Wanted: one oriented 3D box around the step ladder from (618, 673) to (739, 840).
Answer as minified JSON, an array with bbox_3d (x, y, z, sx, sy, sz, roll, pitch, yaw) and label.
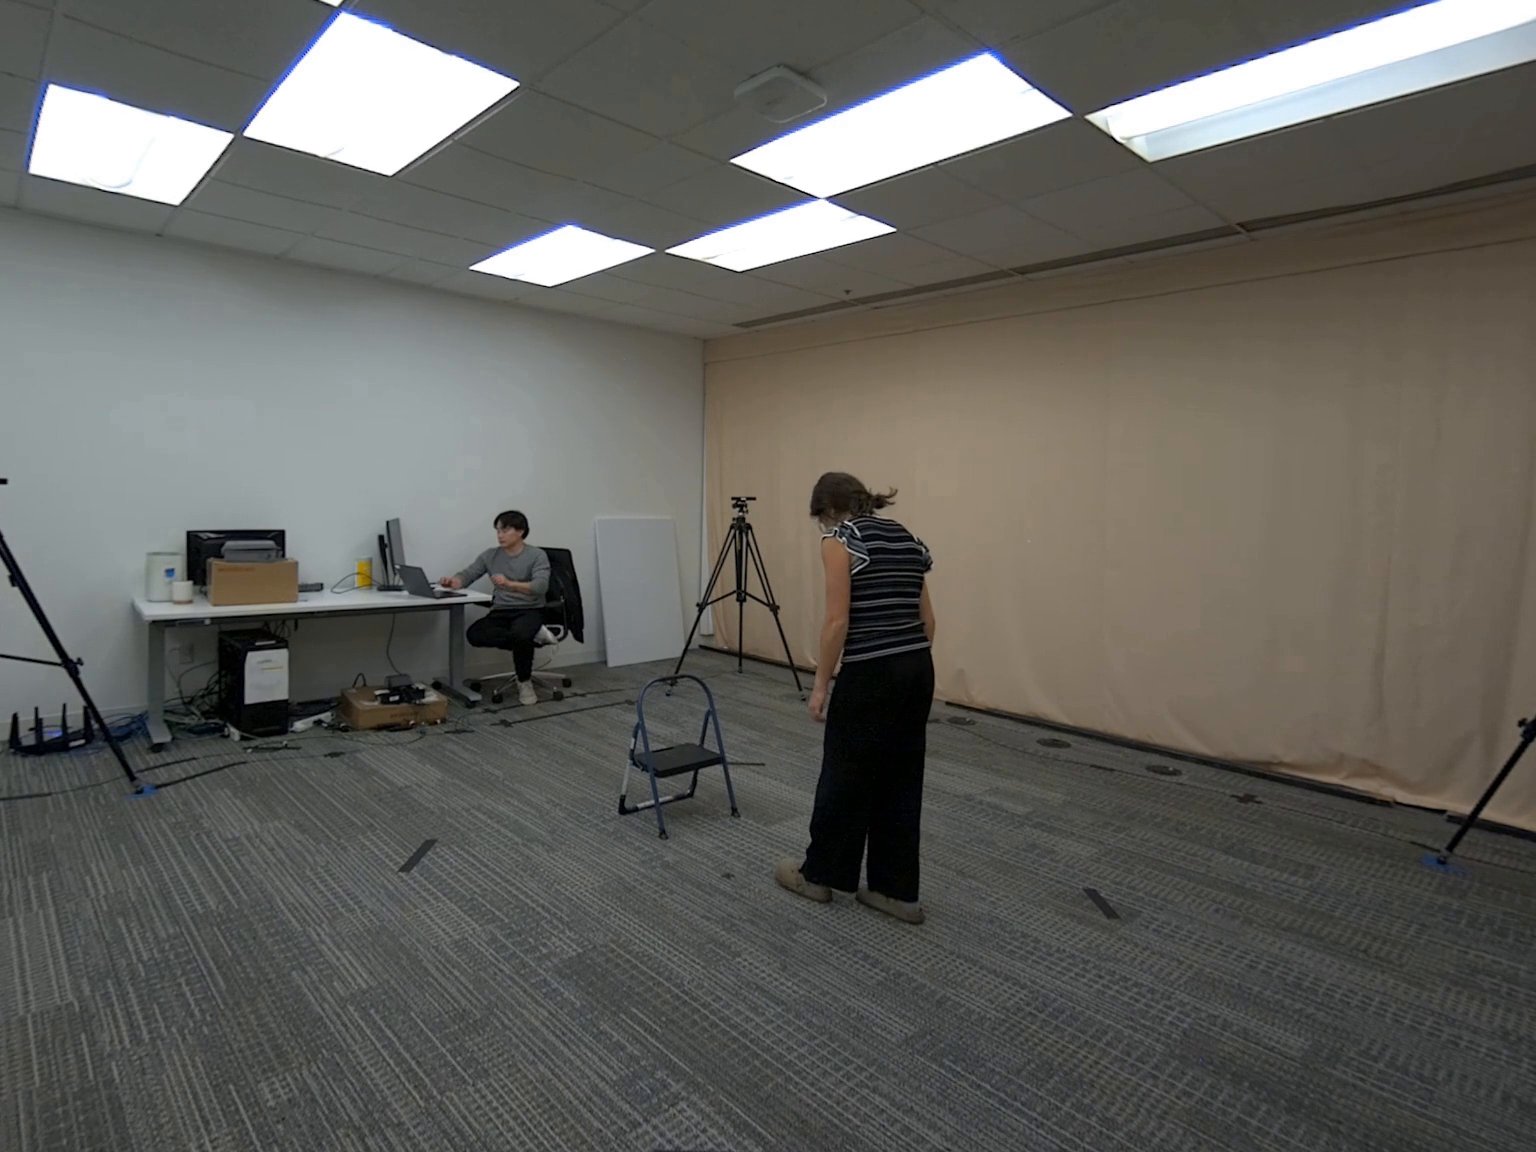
[{"bbox_3d":[-0.392,0.751,3.678,0.420,0.605,0.358,-1,4,-43],"label":"step ladder"}]
